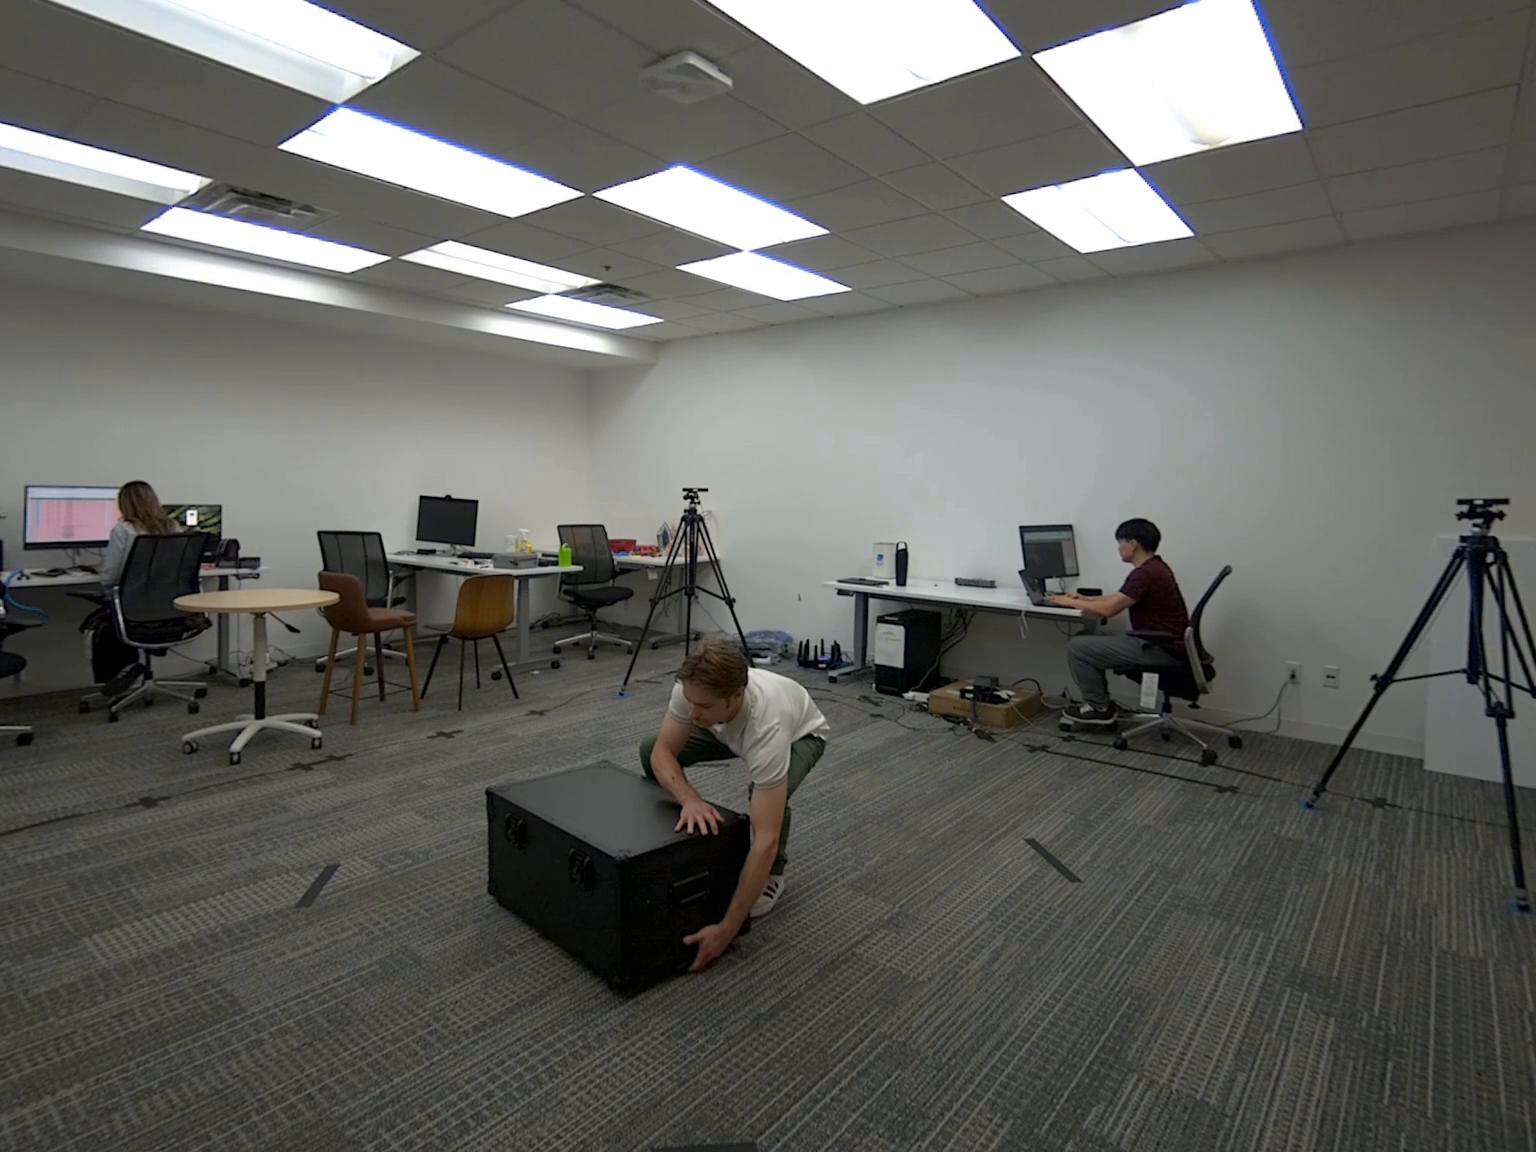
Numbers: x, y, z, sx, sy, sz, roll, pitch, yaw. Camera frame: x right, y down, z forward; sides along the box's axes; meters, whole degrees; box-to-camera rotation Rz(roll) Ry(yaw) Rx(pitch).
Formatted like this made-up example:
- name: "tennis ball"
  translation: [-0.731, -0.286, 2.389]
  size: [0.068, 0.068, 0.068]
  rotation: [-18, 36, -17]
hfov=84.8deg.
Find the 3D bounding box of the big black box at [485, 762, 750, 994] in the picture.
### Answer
- name: "big black box"
  translation: [-0.529, 0.898, 2.745]
  size: [0.508, 0.384, 0.898]
  rotation: [-5, 7, -42]
